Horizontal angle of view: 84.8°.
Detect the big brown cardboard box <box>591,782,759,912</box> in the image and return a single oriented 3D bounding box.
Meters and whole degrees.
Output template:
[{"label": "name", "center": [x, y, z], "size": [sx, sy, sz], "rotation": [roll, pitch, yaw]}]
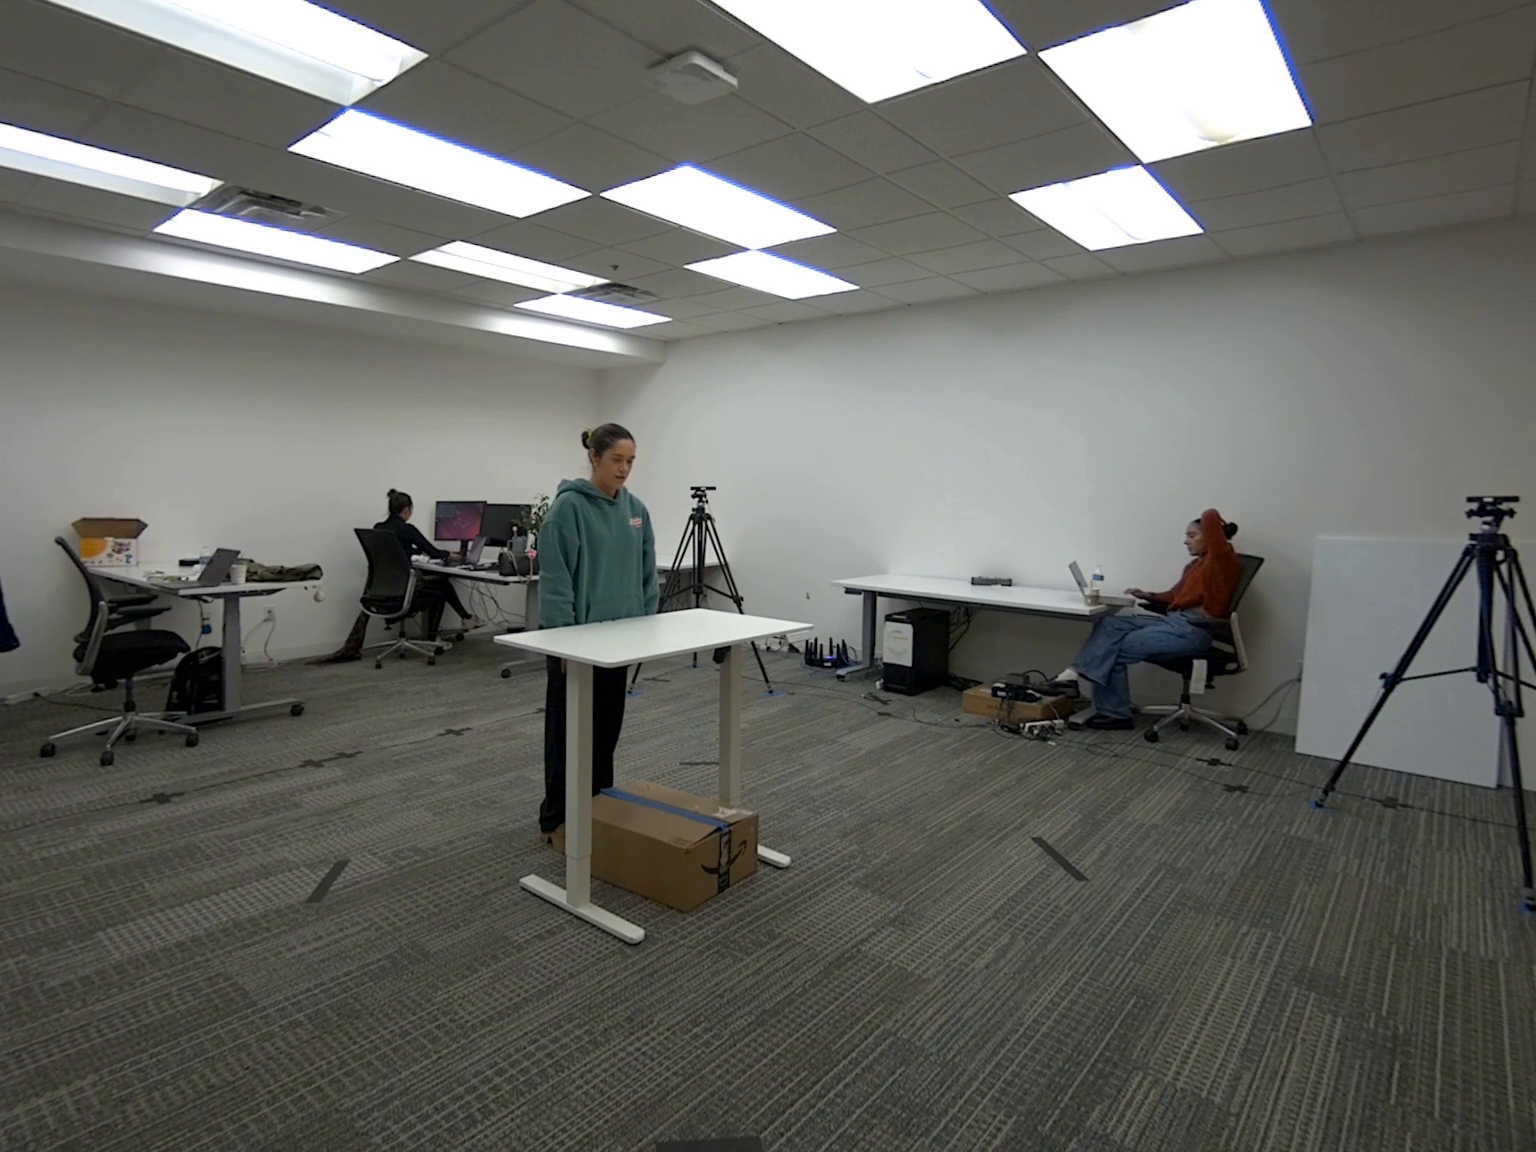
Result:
[{"label": "big brown cardboard box", "center": [-0.391, 0.948, 3.079], "size": [0.607, 0.232, 0.406], "rotation": [3, 5, 34]}]
